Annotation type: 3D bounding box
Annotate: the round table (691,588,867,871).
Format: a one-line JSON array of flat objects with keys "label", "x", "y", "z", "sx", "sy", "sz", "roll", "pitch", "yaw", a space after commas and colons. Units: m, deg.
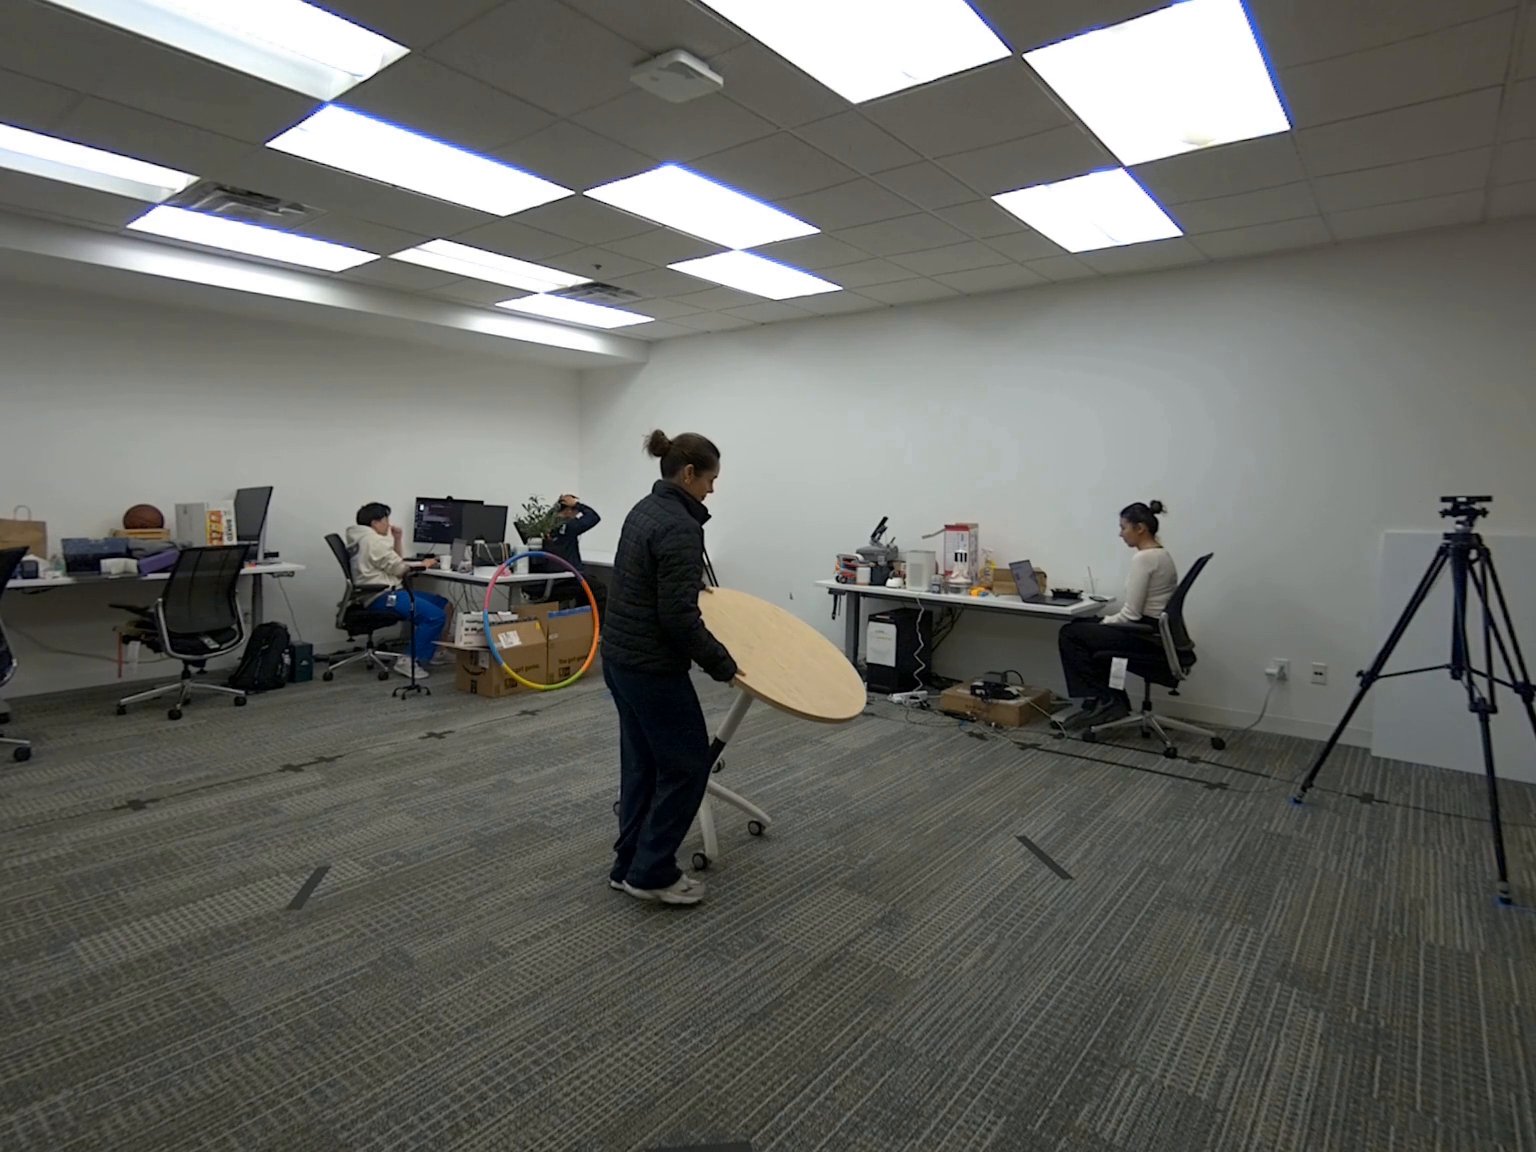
[{"label": "round table", "x": -0.147, "y": 0.577, "z": 3.279, "sx": 0.774, "sy": 0.782, "sz": 0.801, "roll": 25, "pitch": 19, "yaw": -12}]
